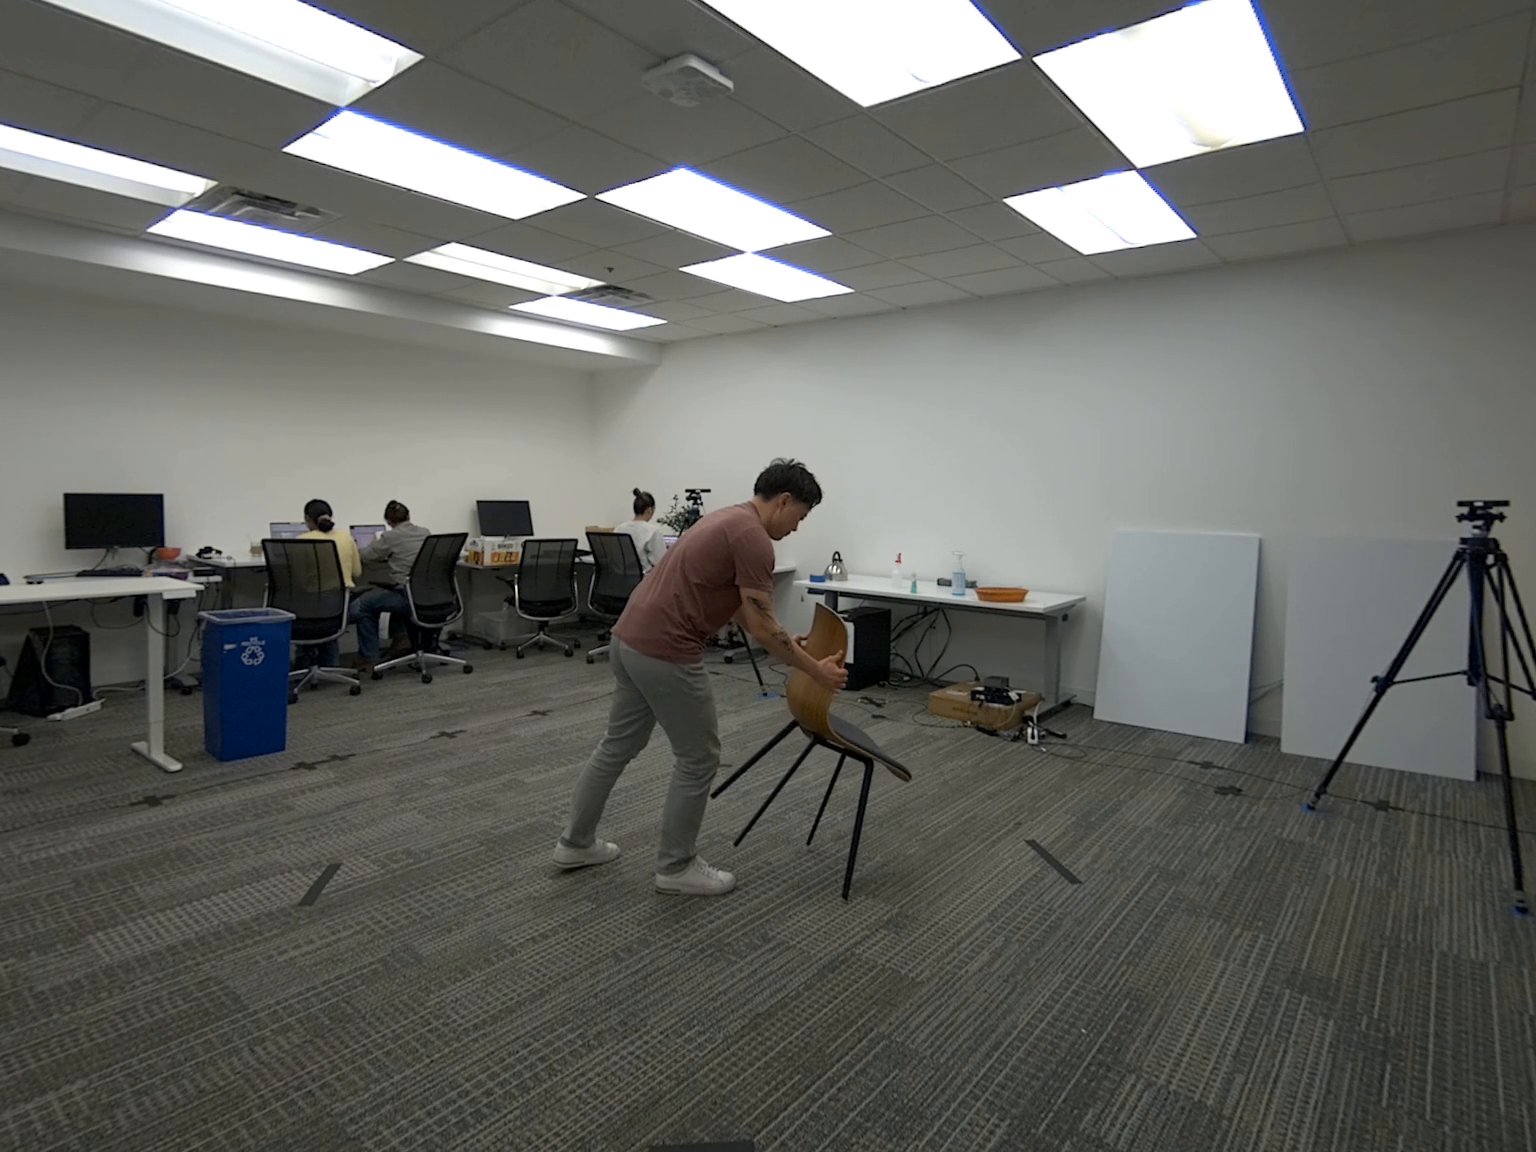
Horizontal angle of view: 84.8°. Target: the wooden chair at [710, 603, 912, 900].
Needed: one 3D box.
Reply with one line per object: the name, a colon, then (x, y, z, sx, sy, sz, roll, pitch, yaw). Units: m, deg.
wooden chair: (0.222, 0.598, 3.070, 0.515, 0.878, 0.486, 24, -1, -13)
